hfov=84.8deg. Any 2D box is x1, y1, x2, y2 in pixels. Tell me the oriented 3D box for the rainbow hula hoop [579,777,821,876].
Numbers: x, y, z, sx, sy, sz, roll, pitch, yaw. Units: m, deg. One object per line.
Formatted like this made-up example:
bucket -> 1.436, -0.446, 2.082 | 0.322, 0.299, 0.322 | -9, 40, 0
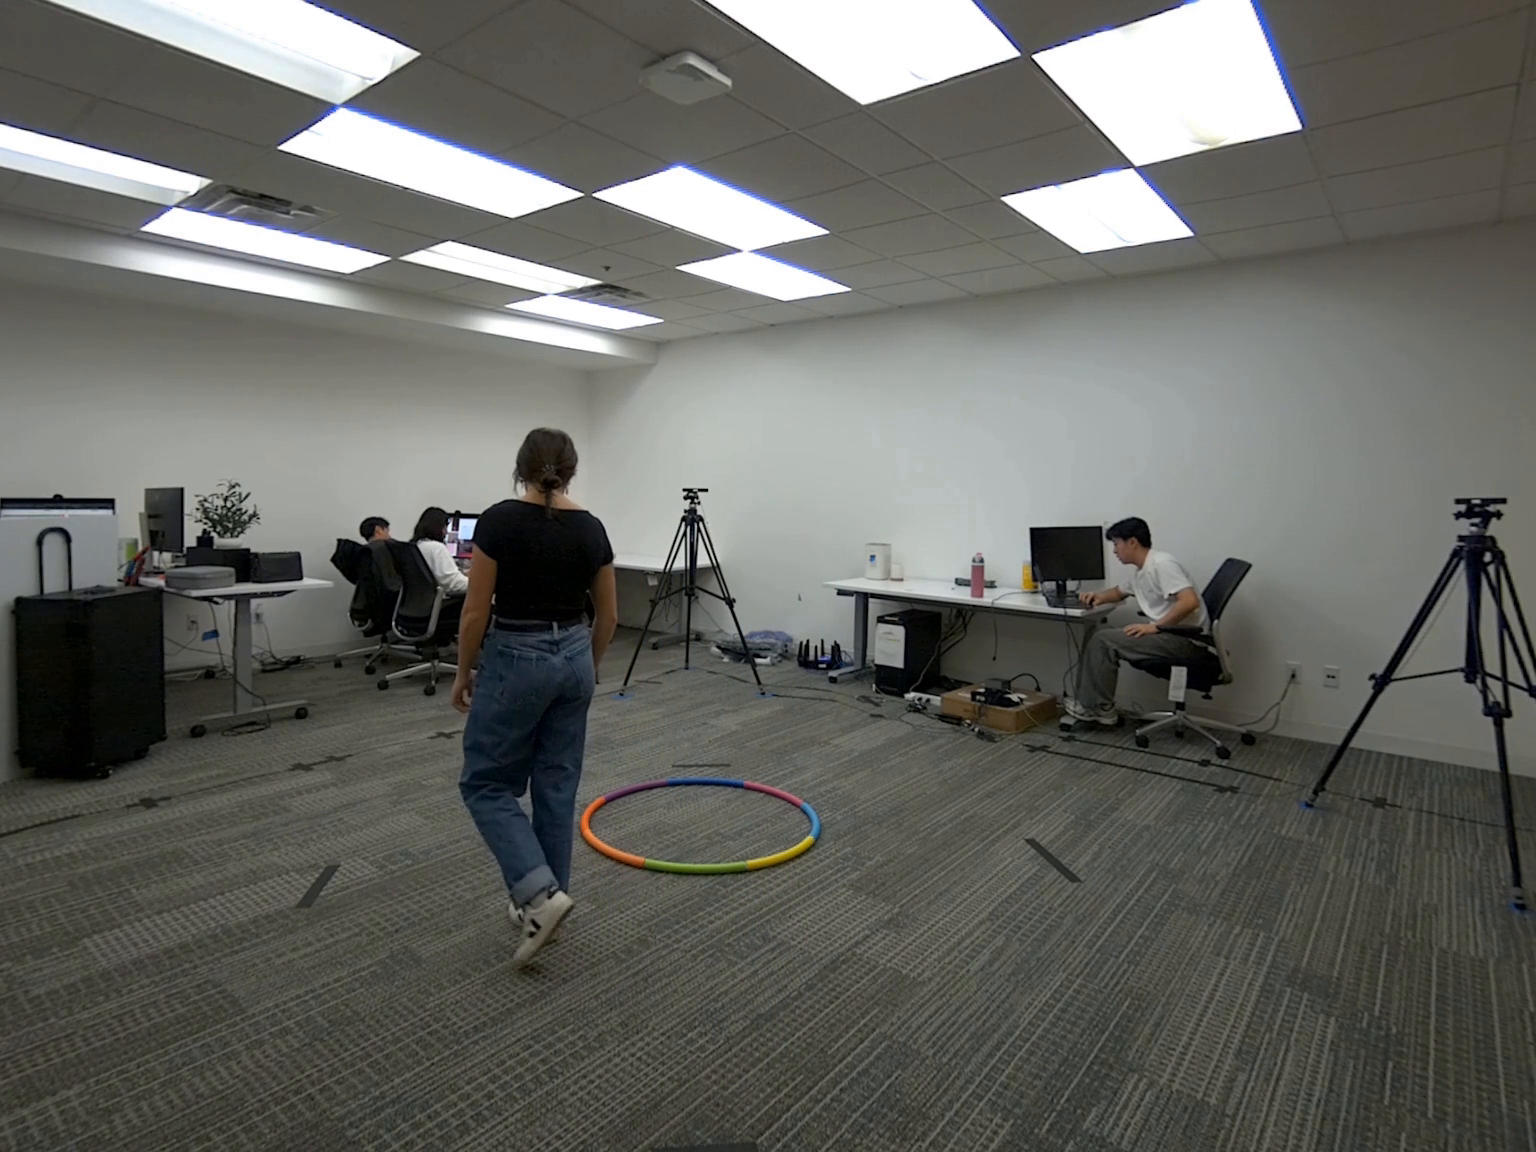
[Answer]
rainbow hula hoop -> -0.279, 0.991, 3.538 | 0.978, 0.035, 0.984 | 1, 6, -2
